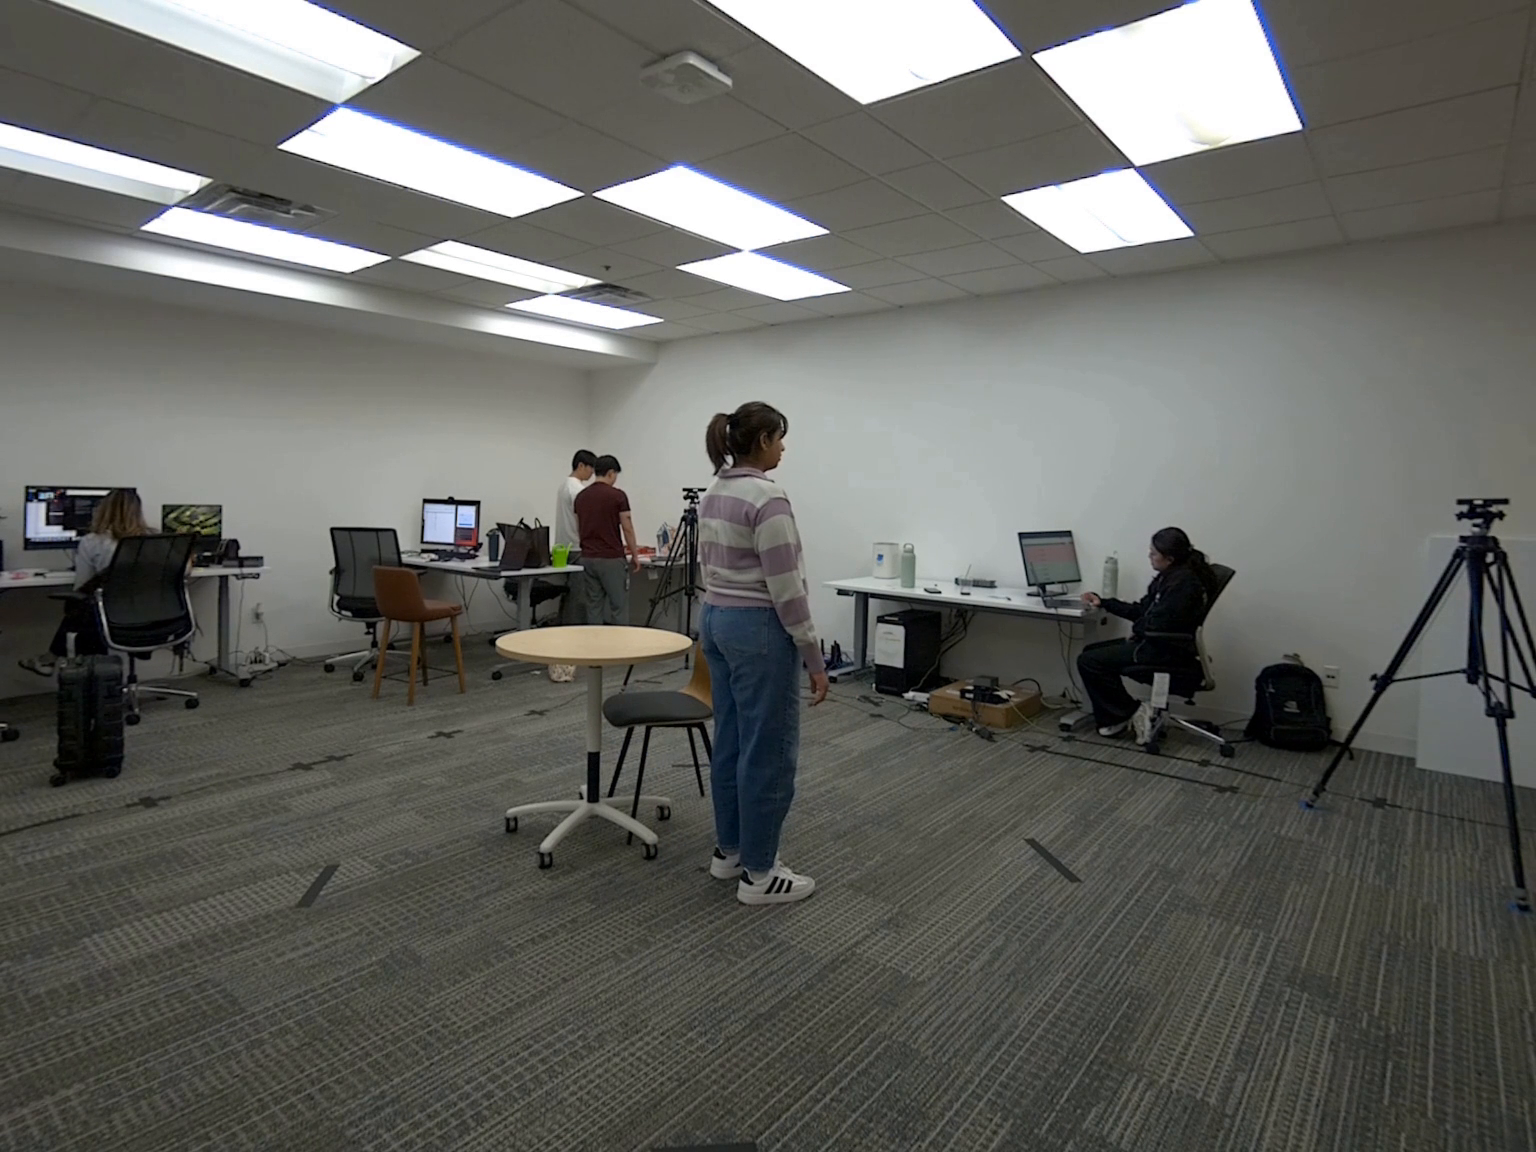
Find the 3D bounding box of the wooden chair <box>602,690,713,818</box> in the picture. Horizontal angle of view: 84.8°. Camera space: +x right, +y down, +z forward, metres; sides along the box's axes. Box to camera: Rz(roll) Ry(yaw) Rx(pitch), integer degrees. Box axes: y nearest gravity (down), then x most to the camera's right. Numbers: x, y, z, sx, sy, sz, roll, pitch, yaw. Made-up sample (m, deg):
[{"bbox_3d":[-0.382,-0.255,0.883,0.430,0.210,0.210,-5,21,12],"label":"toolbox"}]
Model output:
[{"bbox_3d":[-0.434,0.594,3.556,0.512,0.875,0.489,4,3,-21],"label":"wooden chair"}]
